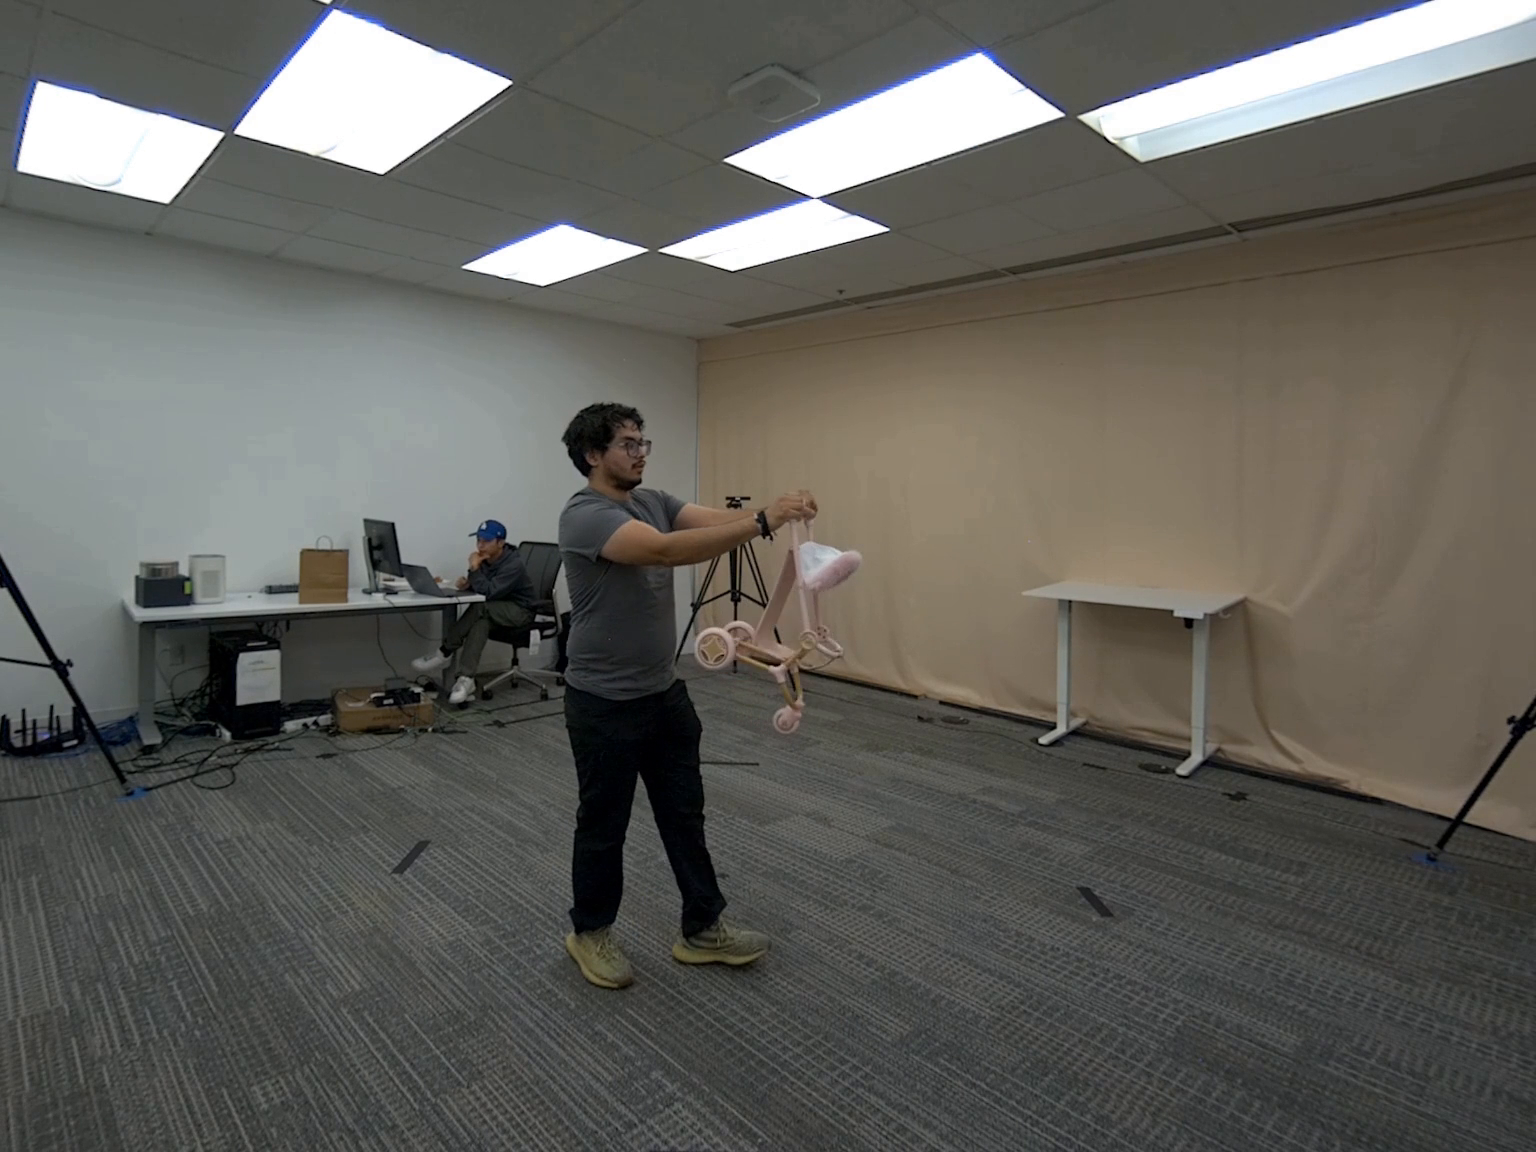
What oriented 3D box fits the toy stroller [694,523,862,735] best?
[{"bbox_3d":[0.064,0.115,2.181,0.348,0.534,0.277,34,7,17],"label":"toy stroller"}]
